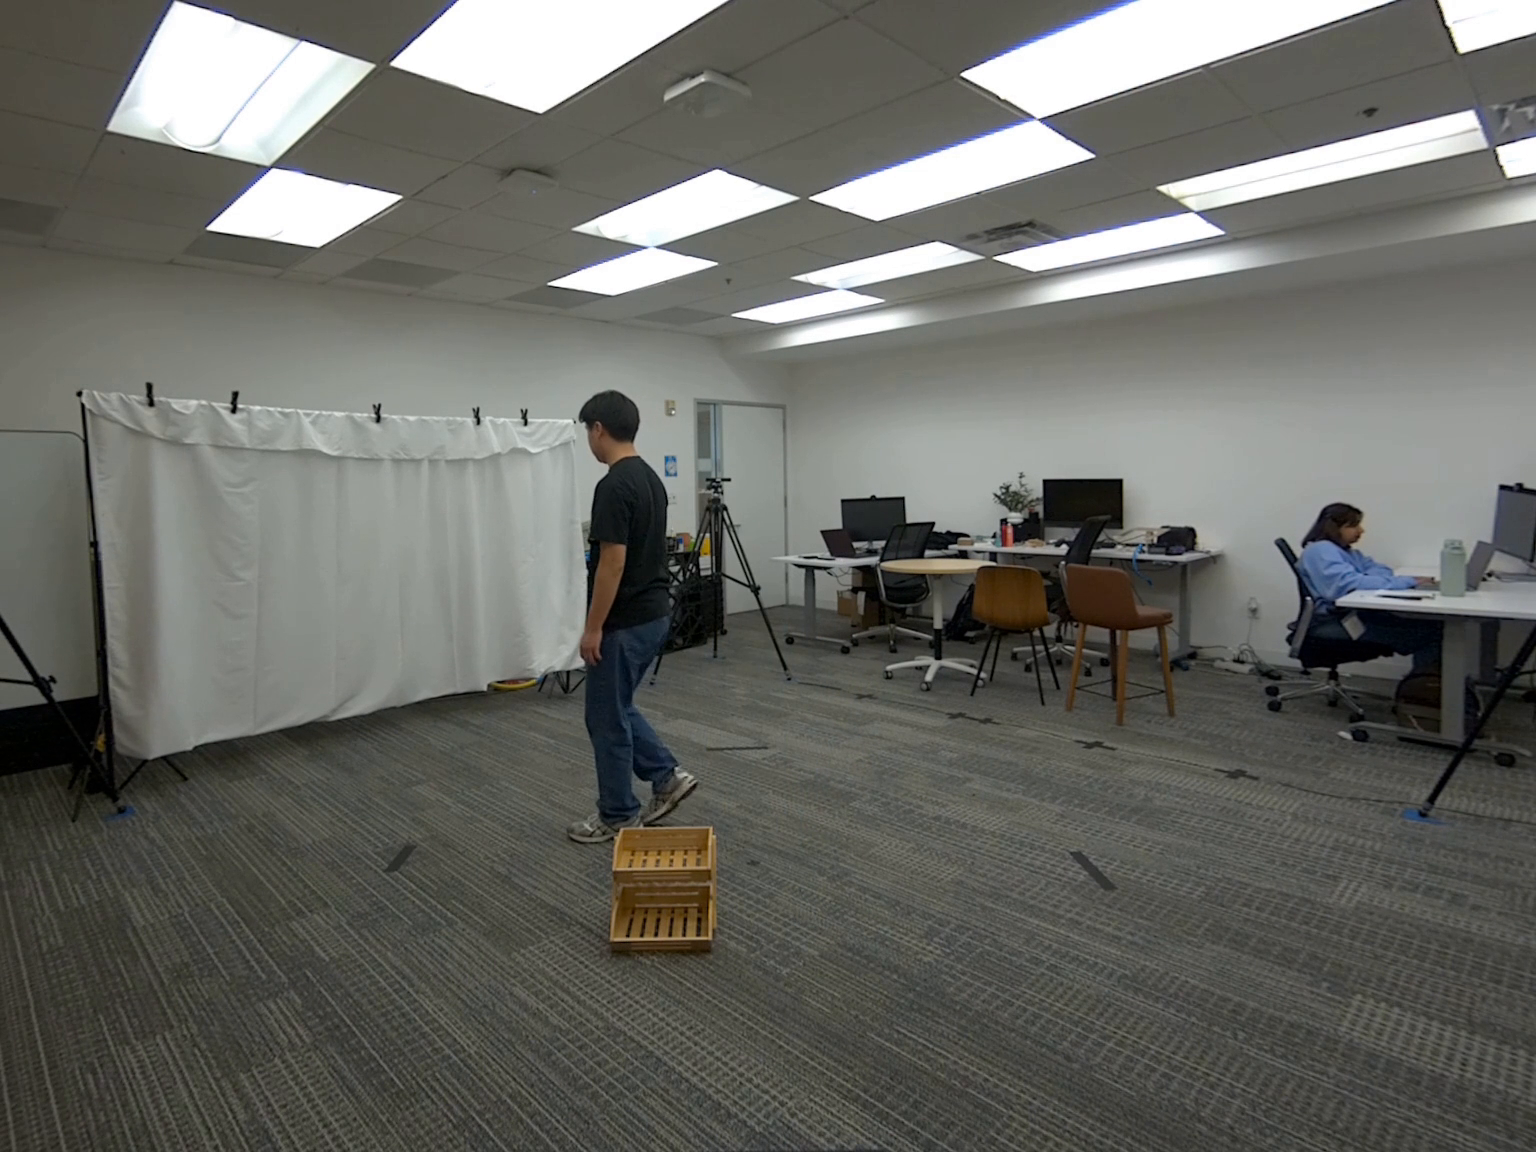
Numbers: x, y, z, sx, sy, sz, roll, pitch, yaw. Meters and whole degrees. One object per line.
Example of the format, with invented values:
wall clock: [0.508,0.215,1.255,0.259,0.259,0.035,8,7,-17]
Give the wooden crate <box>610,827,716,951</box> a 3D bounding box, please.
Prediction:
wooden crate: [-0.317,0.966,2.645,0.324,0.272,0.304,-1,6,-2]
